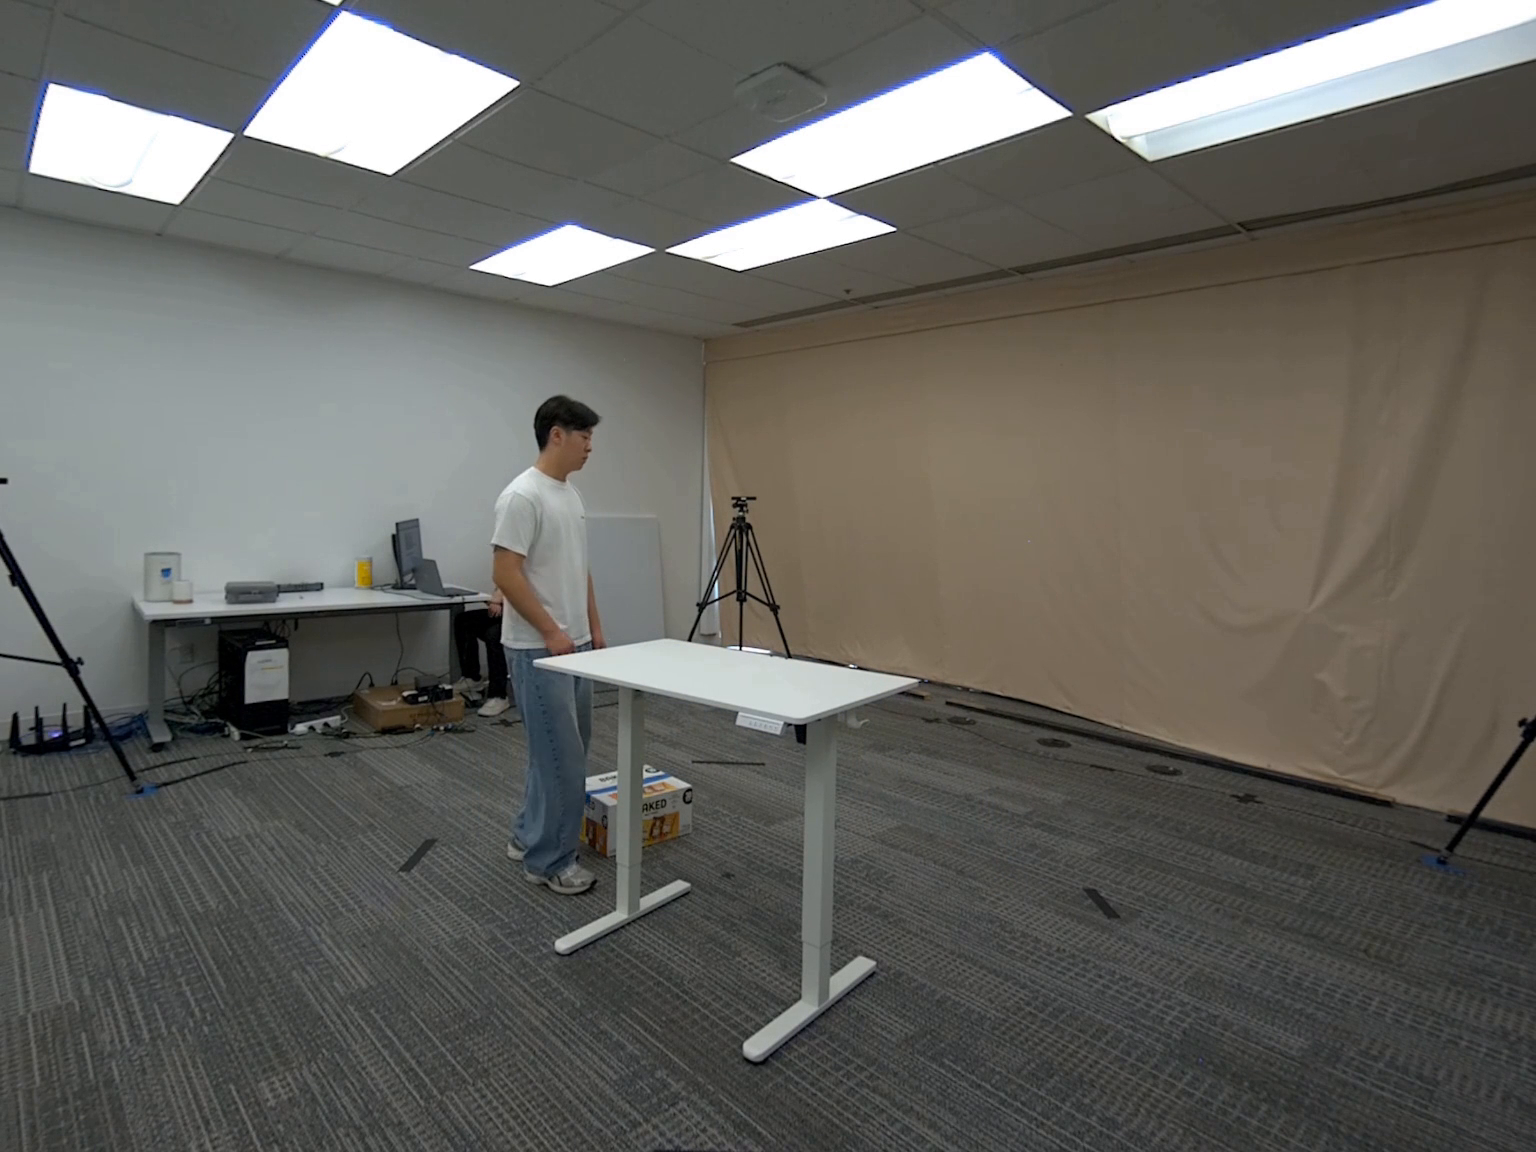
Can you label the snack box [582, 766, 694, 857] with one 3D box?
[{"bbox_3d":[-0.583,0.961,3.482,0.396,0.205,0.349,-3,6,-40],"label":"snack box"}]
